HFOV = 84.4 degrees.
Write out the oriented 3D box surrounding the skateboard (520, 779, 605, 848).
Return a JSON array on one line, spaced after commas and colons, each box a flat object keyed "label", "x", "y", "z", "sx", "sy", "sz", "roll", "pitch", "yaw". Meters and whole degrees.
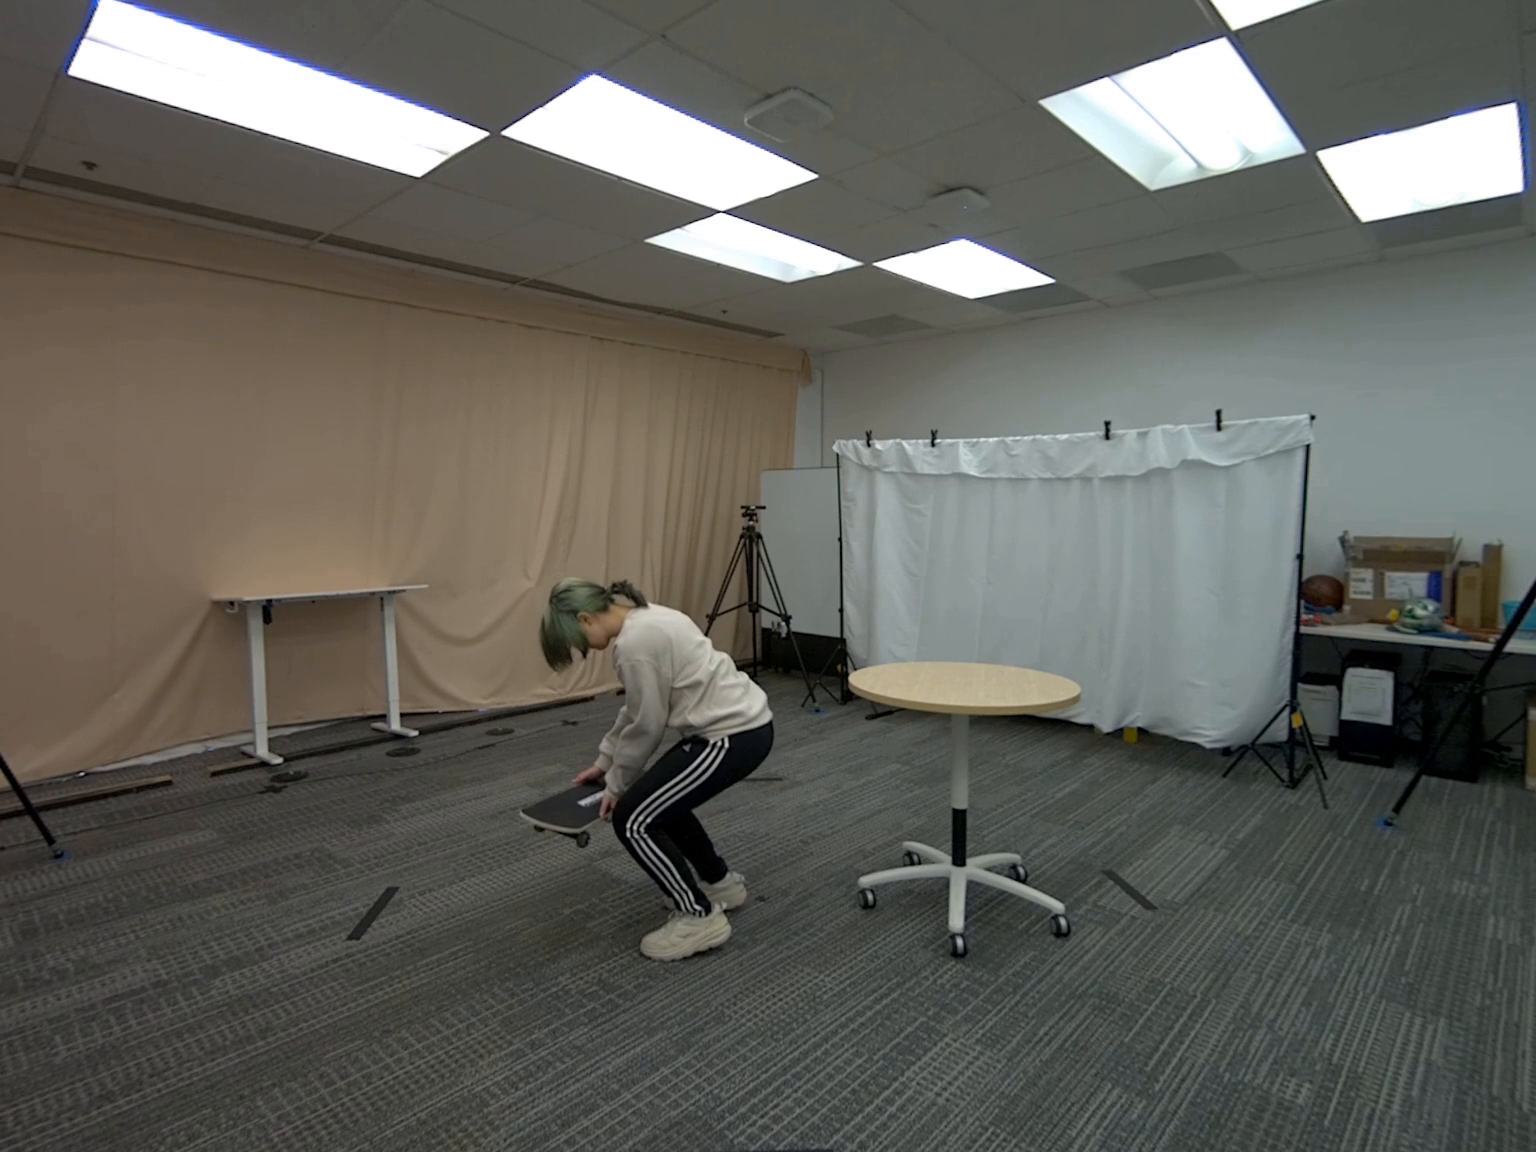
[{"label": "skateboard", "x": -0.579, "y": 0.771, "z": 2.806, "sx": 0.197, "sy": 0.110, "sz": 0.770, "roll": 14, "pitch": 2, "yaw": 15}]
